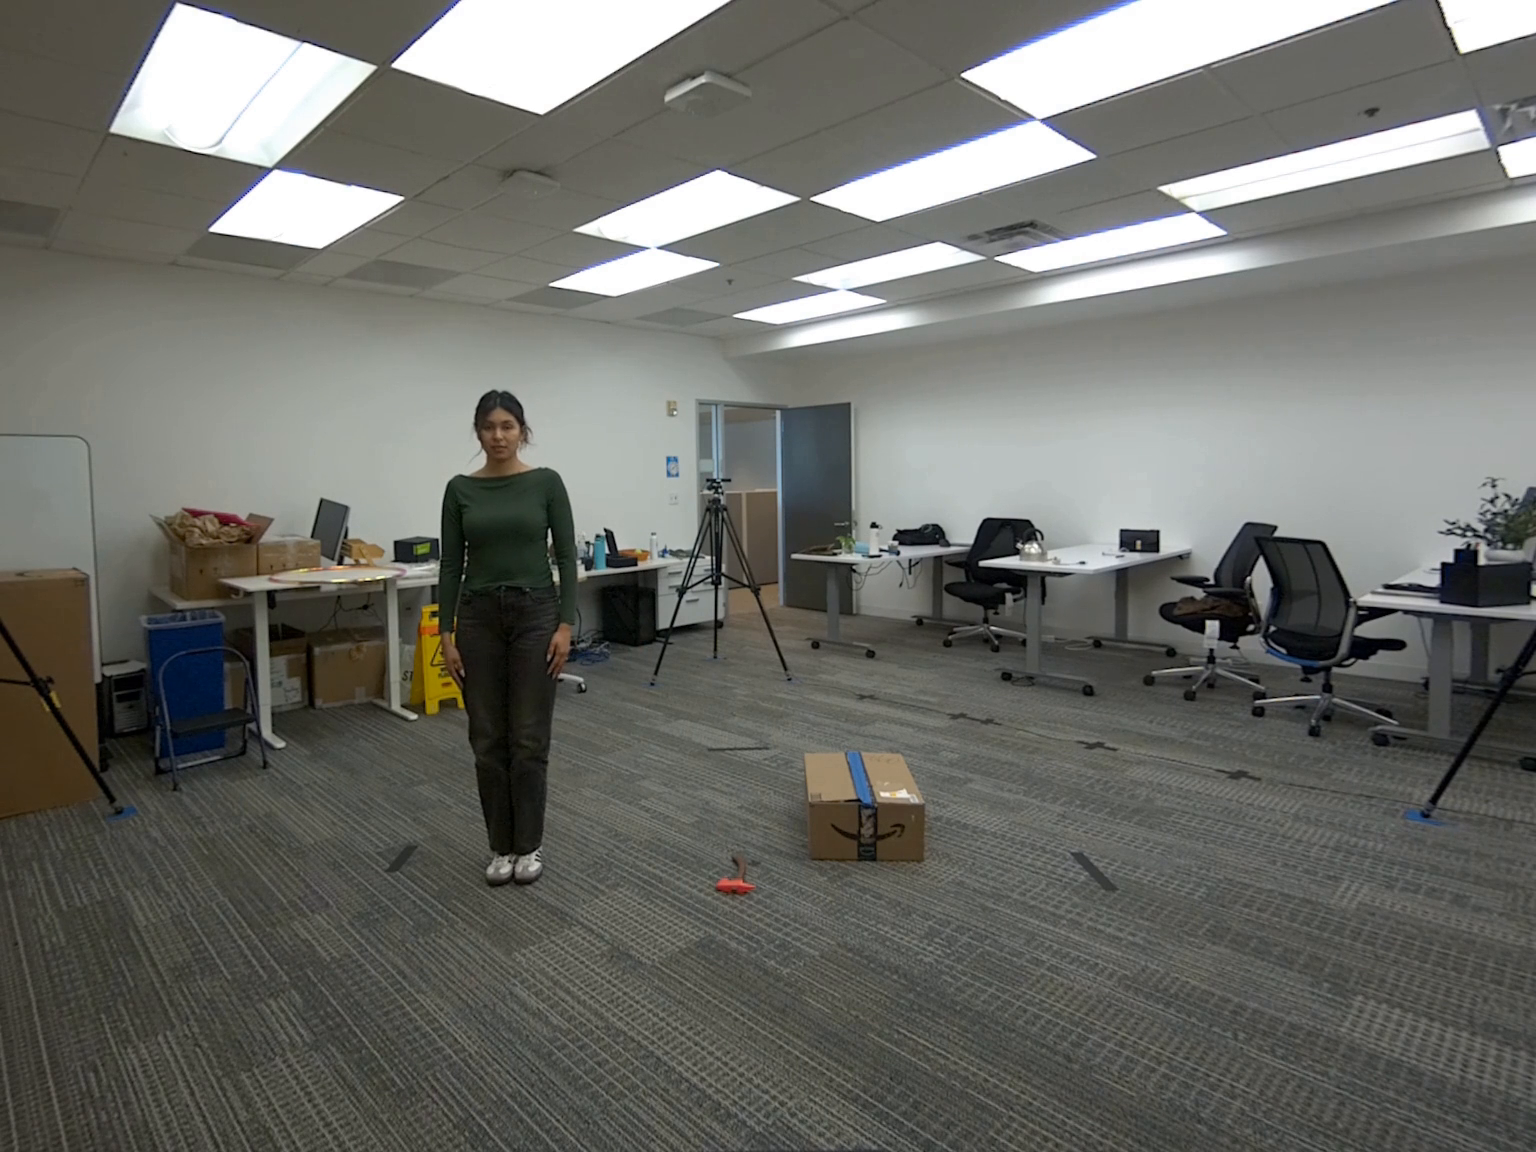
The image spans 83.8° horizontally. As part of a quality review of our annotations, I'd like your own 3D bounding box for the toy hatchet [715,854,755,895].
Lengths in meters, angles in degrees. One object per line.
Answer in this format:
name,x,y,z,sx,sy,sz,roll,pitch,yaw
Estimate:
toy hatchet,-0.133,1.043,3.001,0.130,0.029,0.273,-6,5,-11
